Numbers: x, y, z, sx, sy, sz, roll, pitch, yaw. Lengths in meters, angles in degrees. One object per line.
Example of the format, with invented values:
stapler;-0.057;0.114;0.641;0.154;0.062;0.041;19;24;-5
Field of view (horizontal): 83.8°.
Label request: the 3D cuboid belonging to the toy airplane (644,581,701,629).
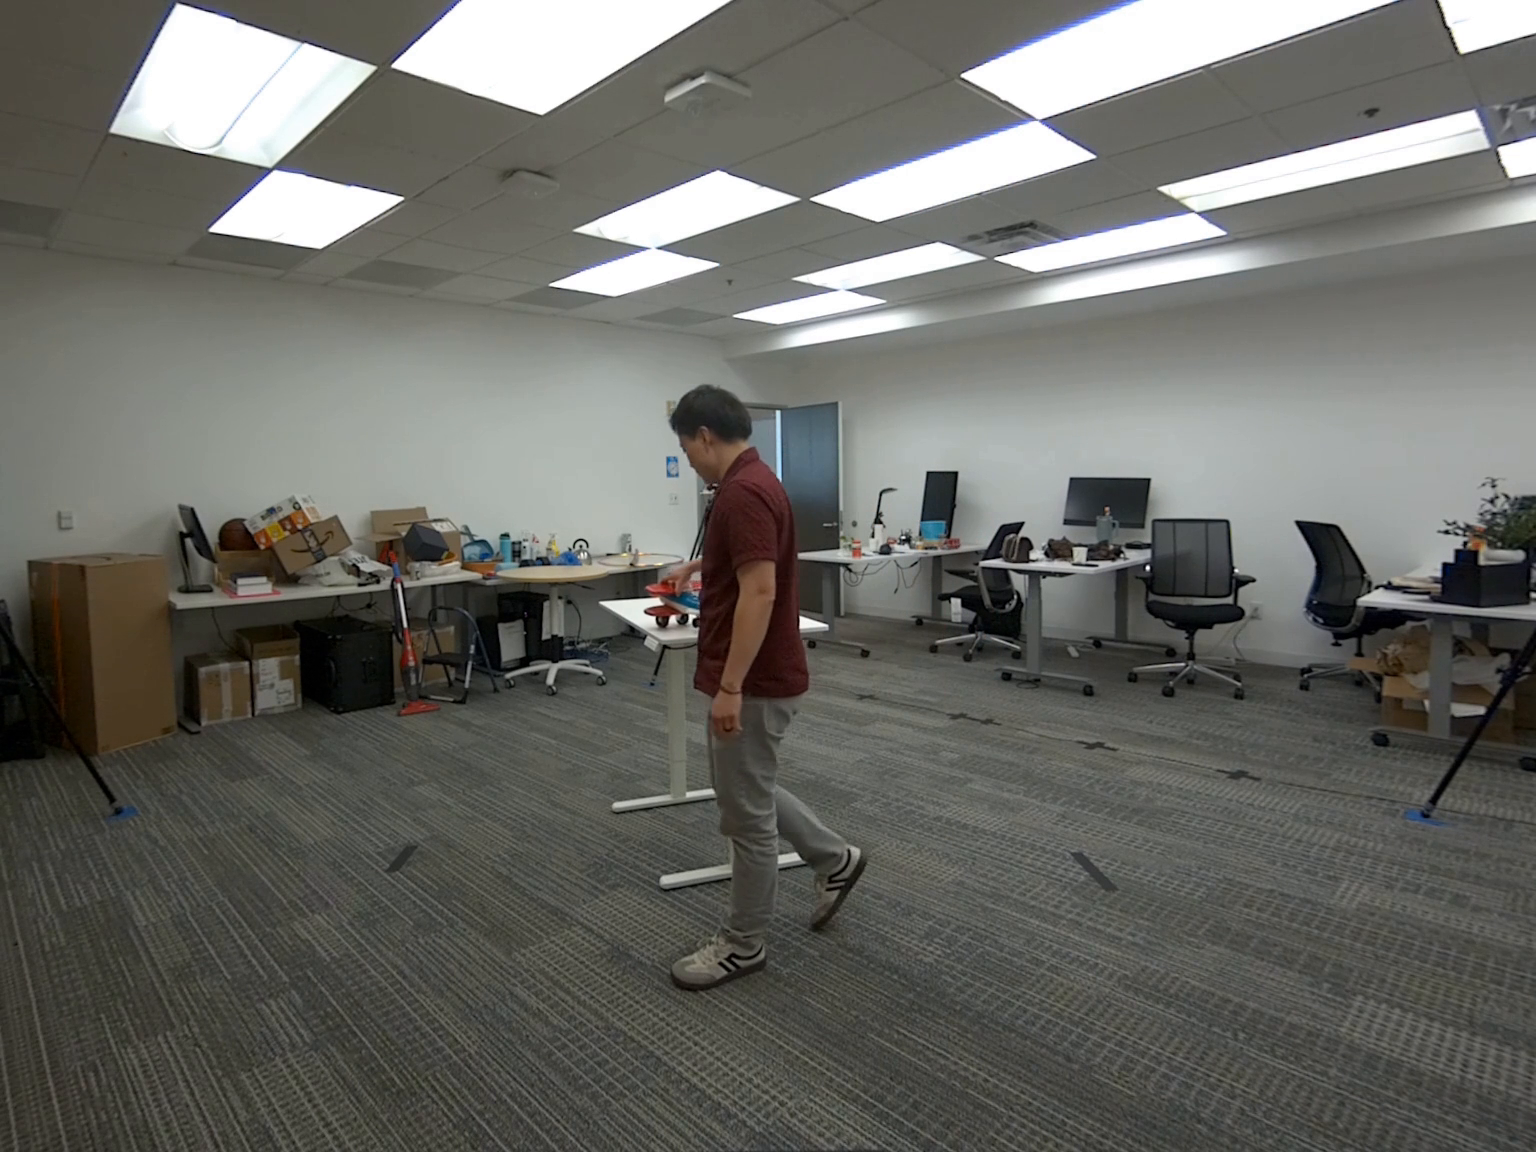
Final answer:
toy airplane;-0.272;0.098;2.969;0.264;0.156;0.246;-4;1;24
